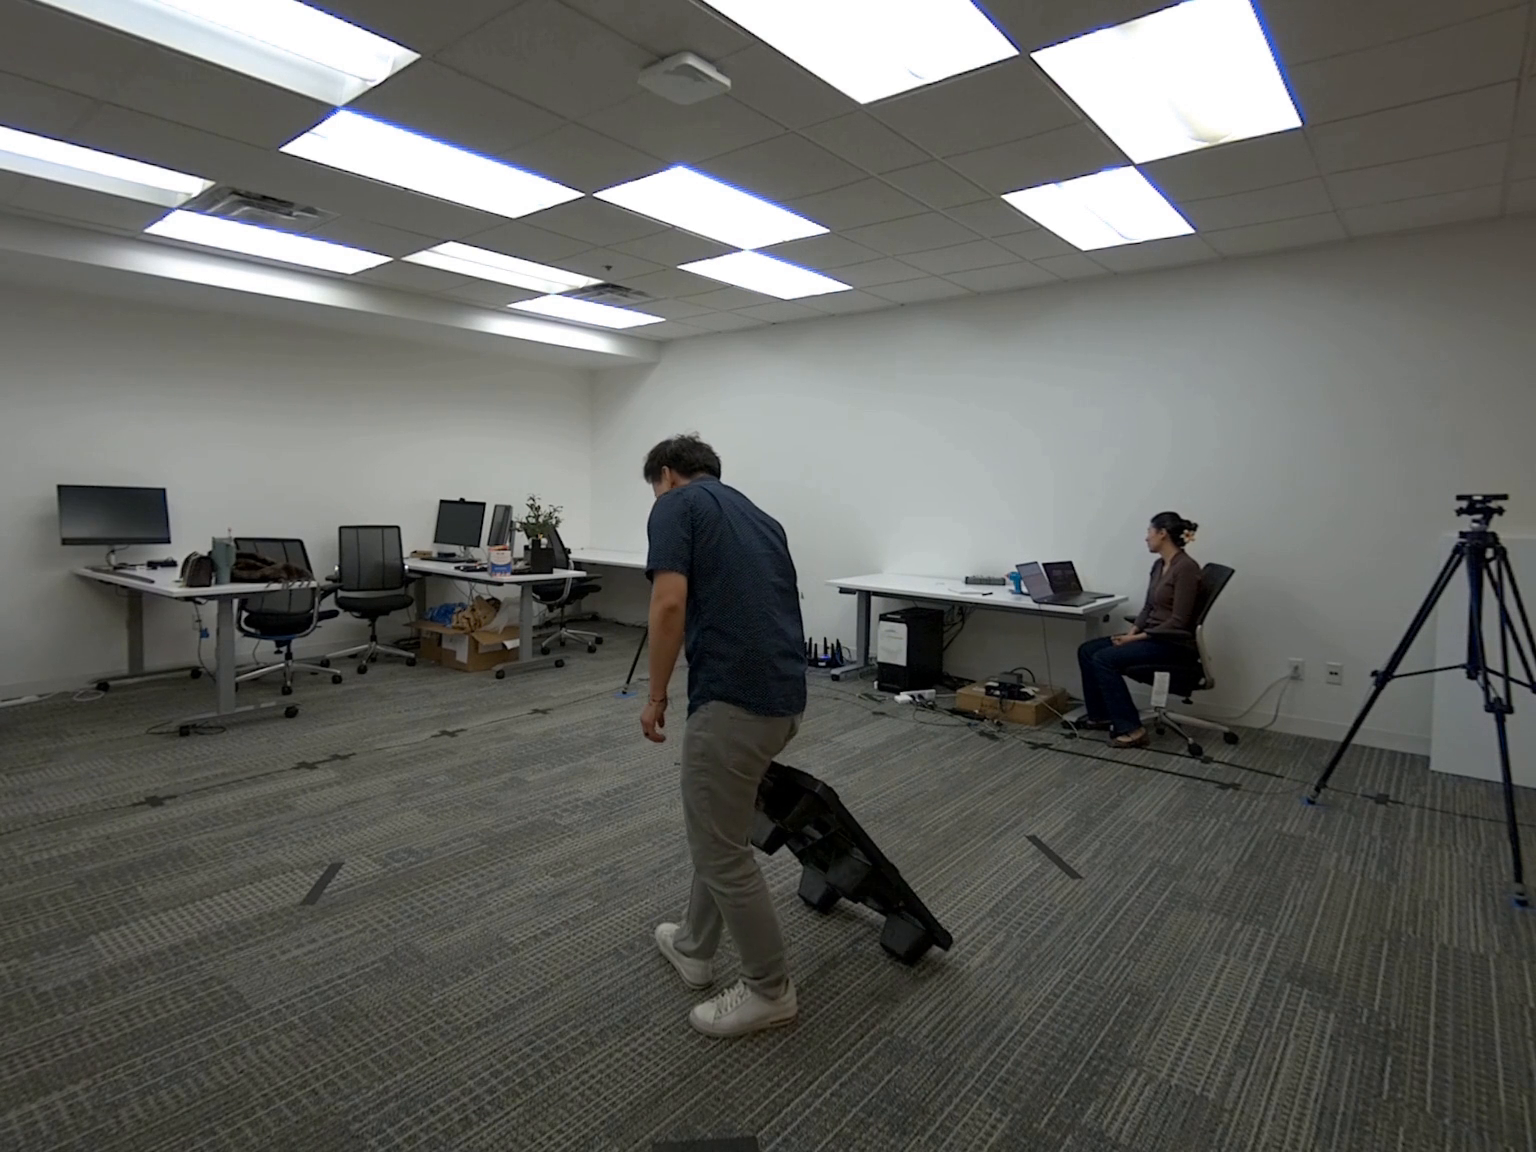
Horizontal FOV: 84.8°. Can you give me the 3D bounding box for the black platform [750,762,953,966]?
[{"bbox_3d":[0.122,0.814,2.543,0.143,0.779,0.625,-48,29,-23],"label":"black platform"}]
